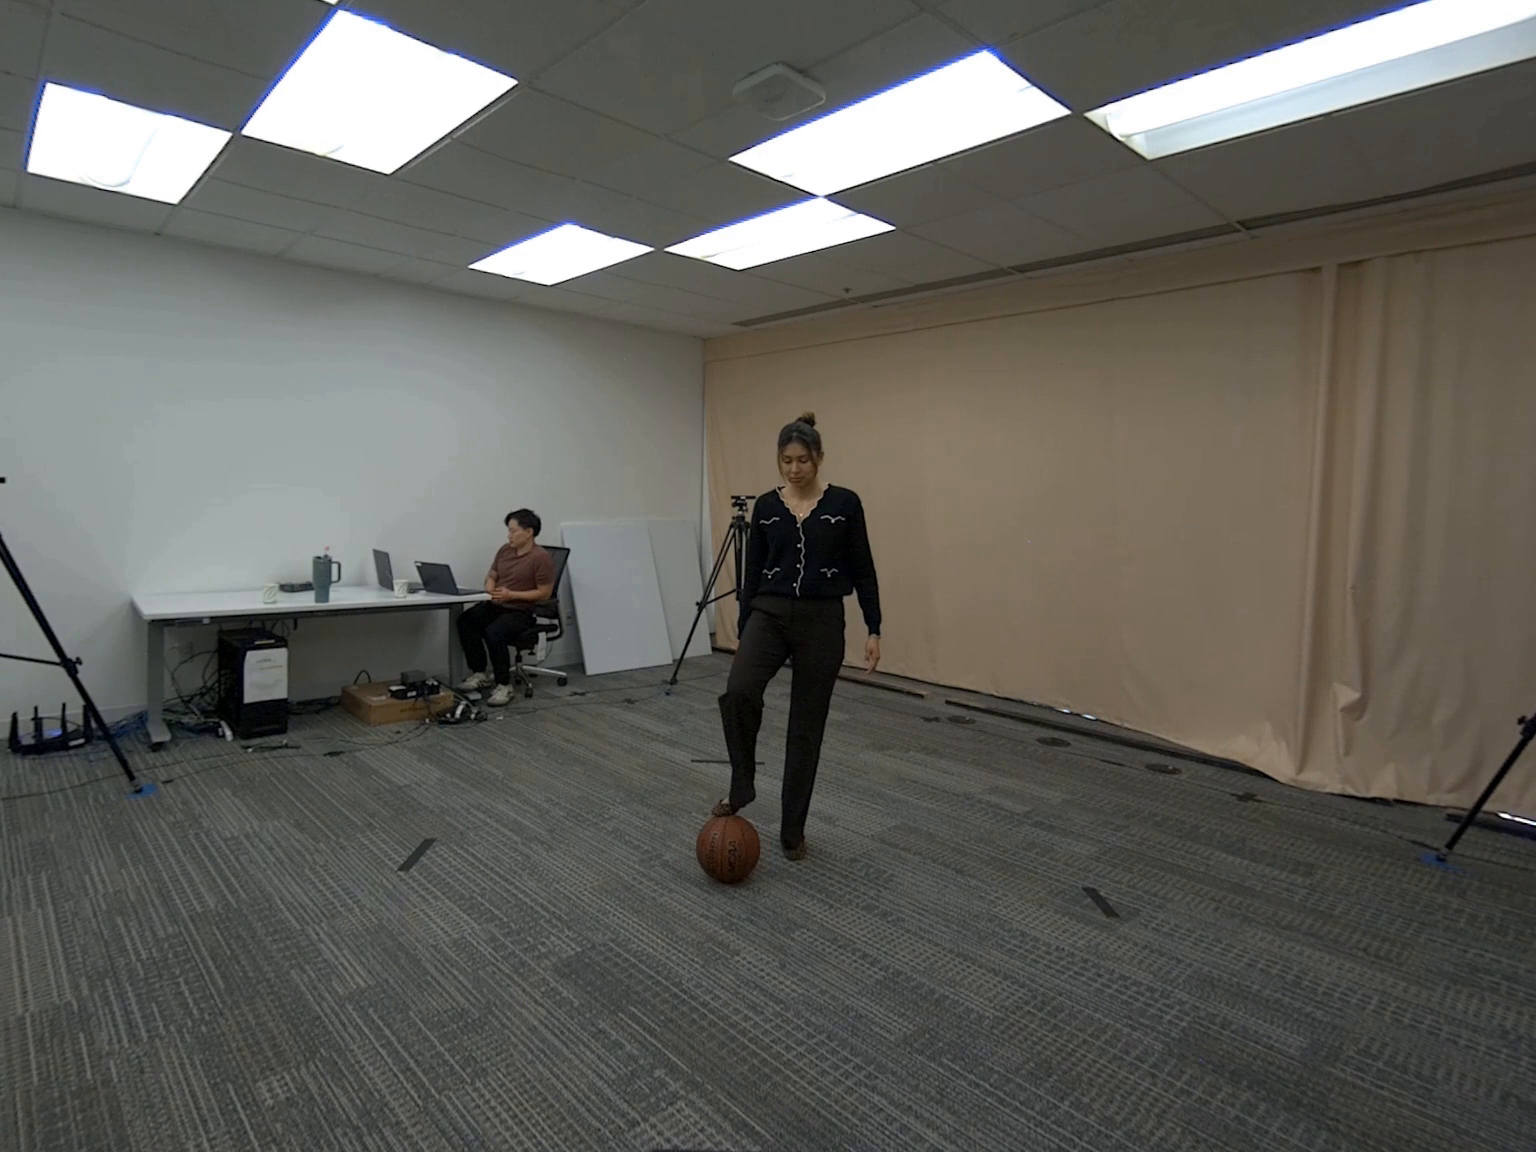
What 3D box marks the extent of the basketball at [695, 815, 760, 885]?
[{"bbox_3d":[-0.152,0.990,3.060,0.236,0.235,0.237,1,4,-1],"label":"basketball"}]
